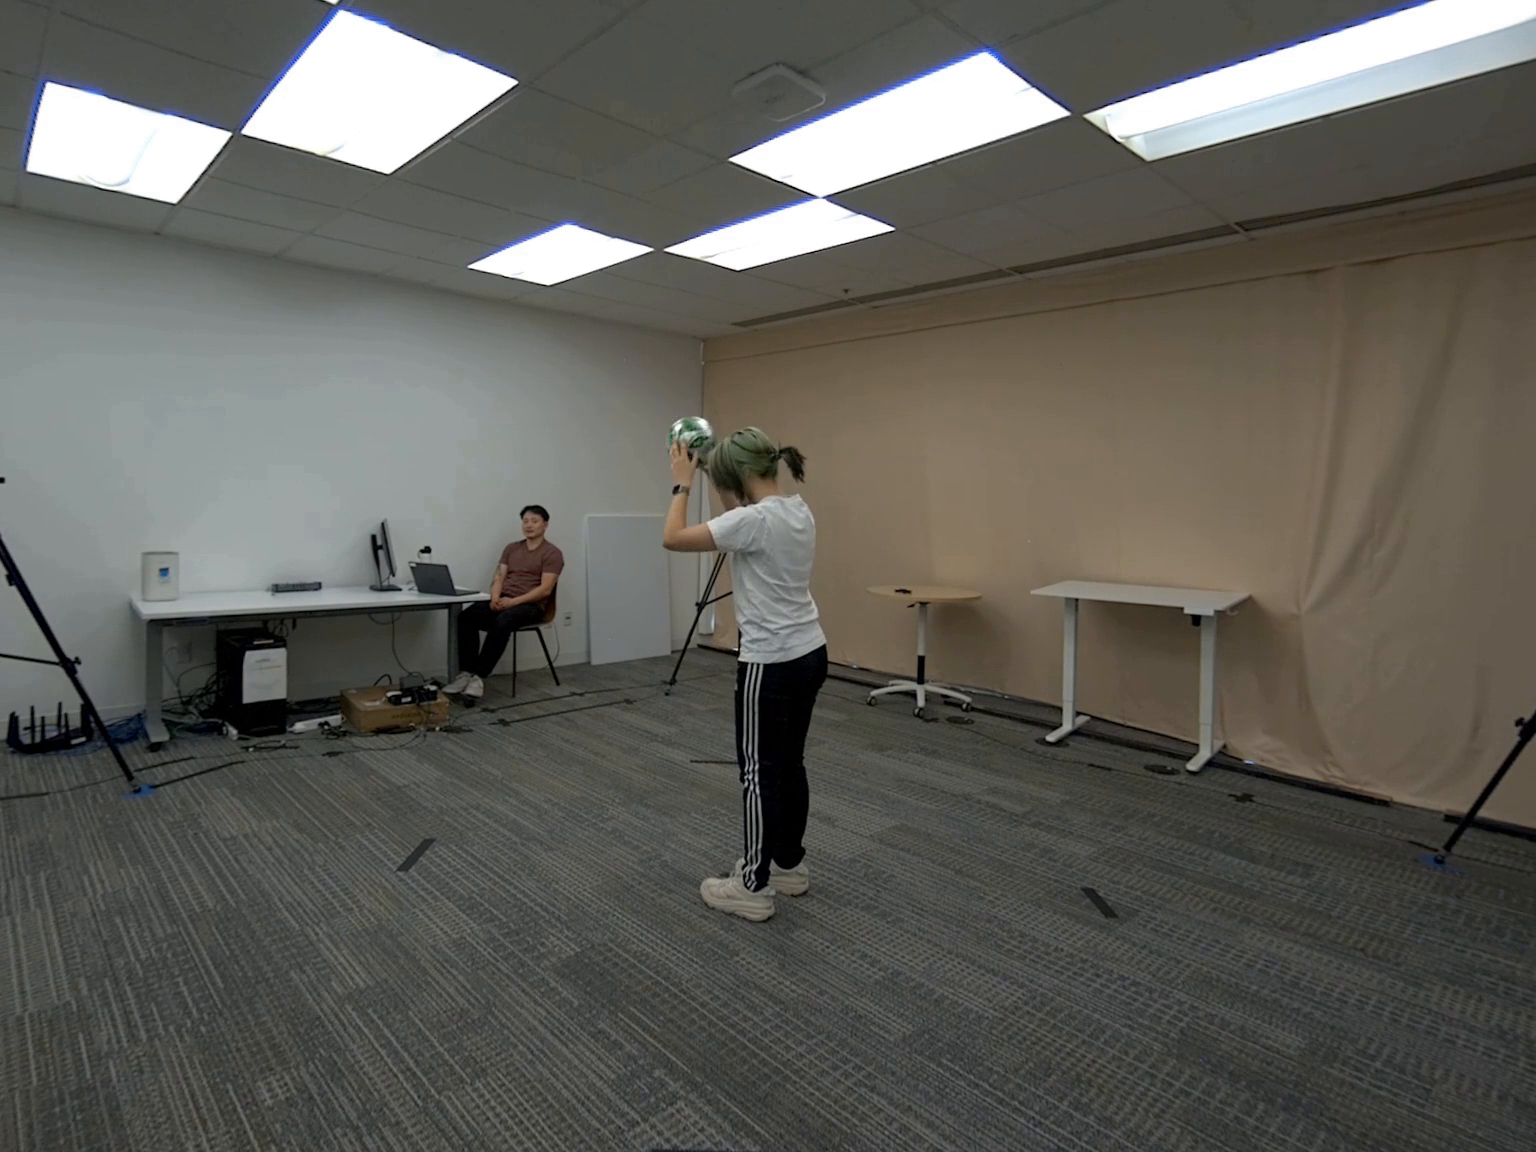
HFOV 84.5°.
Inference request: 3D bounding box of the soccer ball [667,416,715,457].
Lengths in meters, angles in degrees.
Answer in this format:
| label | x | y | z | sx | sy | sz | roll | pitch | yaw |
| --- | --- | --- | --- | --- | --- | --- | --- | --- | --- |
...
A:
| label | x | y | z | sx | sy | sz | roll | pitch | yaw |
| --- | --- | --- | --- | --- | --- | --- | --- | --- | --- |
| soccer ball | -0.280 | -0.466 | 3.017 | 0.187 | 0.187 | 0.188 | 1 | 4 | -1 |
